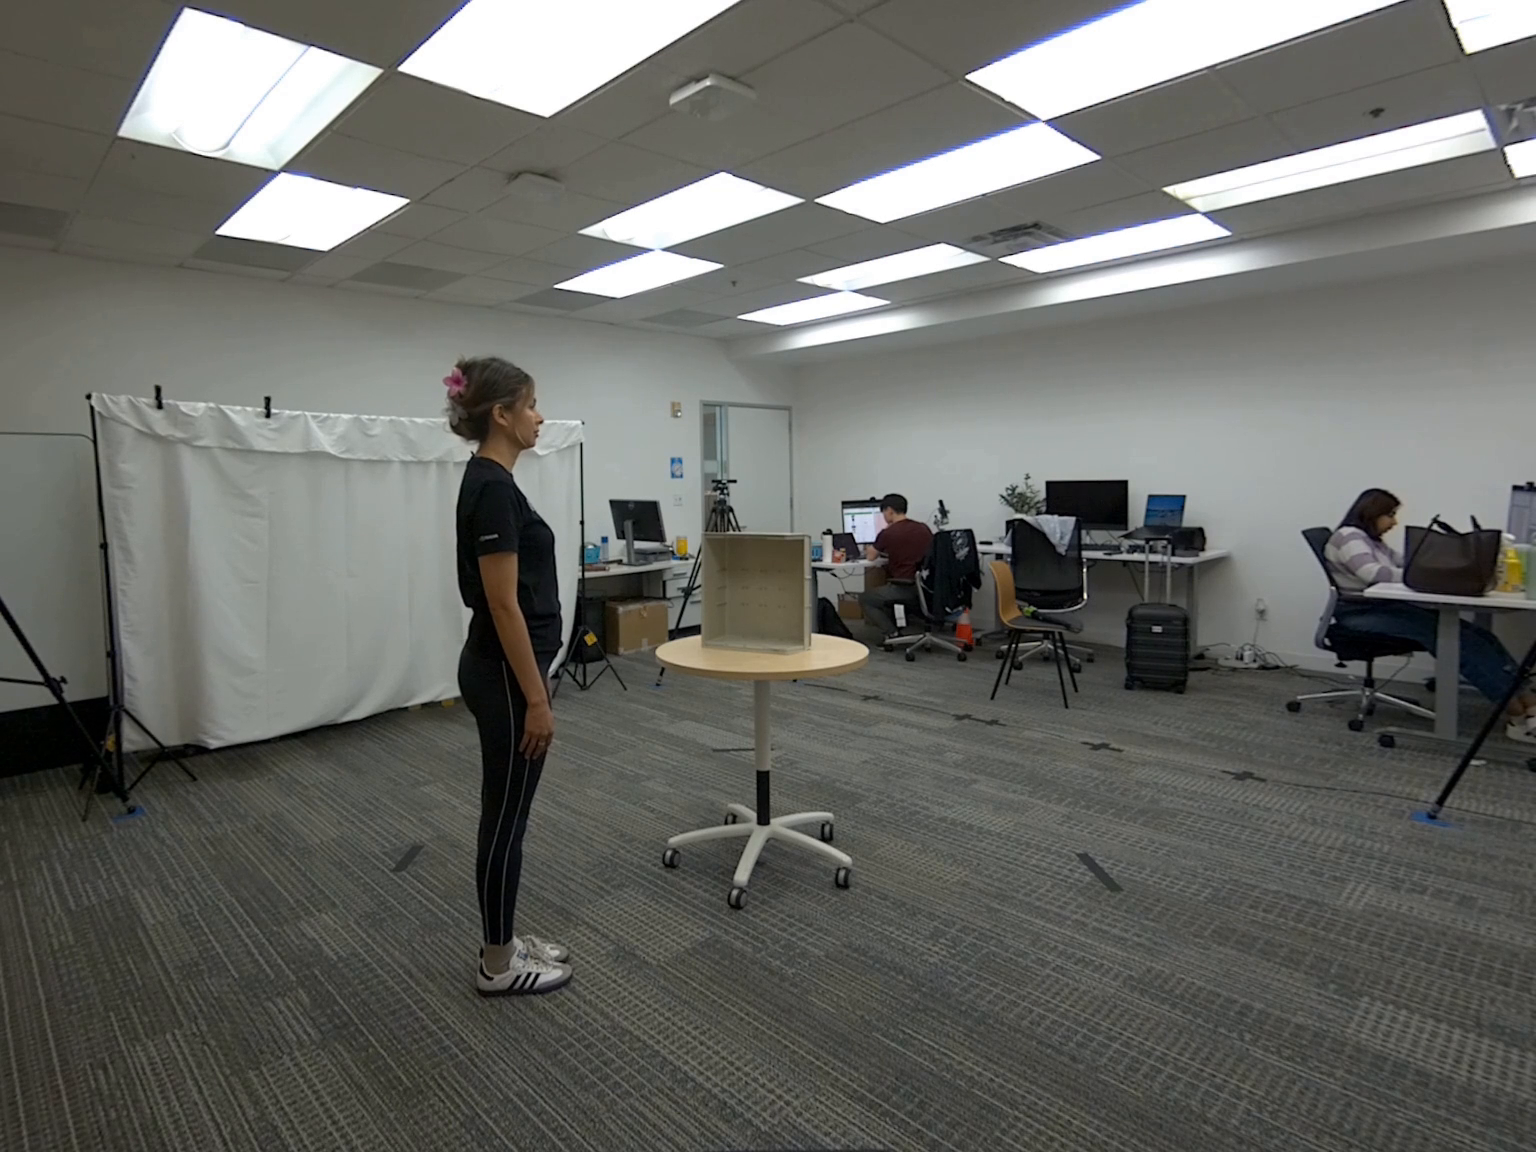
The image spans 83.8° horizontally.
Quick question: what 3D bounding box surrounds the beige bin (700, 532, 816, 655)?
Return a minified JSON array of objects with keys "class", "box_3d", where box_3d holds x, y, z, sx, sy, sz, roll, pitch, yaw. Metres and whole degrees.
[{"class":"beige bin","box_3d":[-0.032,0.052,3.119,0.387,0.421,0.185,2,3,28]}]
